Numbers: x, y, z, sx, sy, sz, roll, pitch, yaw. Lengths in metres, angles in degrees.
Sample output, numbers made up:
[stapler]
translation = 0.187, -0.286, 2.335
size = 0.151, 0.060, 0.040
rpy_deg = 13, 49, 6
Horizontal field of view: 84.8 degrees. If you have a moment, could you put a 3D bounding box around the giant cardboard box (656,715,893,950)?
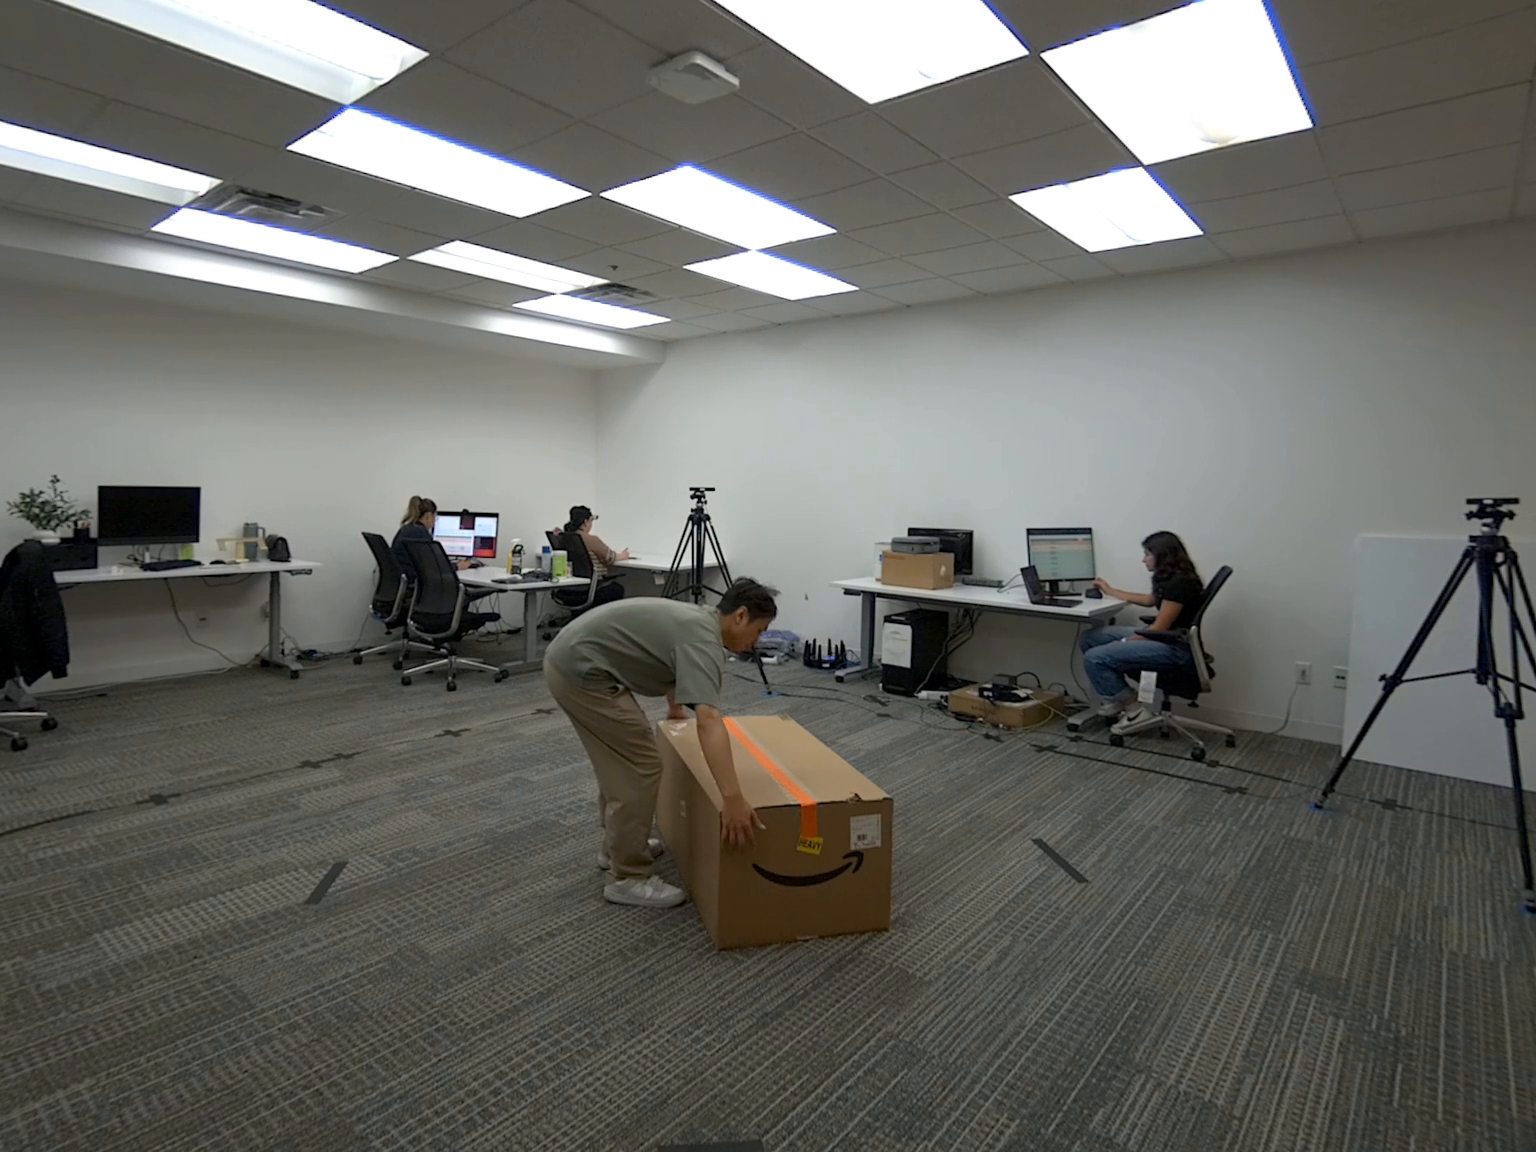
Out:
[giant cardboard box]
translation = -0.039, 0.850, 3.102
size = 0.568, 0.424, 1.047
rpy_deg = -1, 6, -17
